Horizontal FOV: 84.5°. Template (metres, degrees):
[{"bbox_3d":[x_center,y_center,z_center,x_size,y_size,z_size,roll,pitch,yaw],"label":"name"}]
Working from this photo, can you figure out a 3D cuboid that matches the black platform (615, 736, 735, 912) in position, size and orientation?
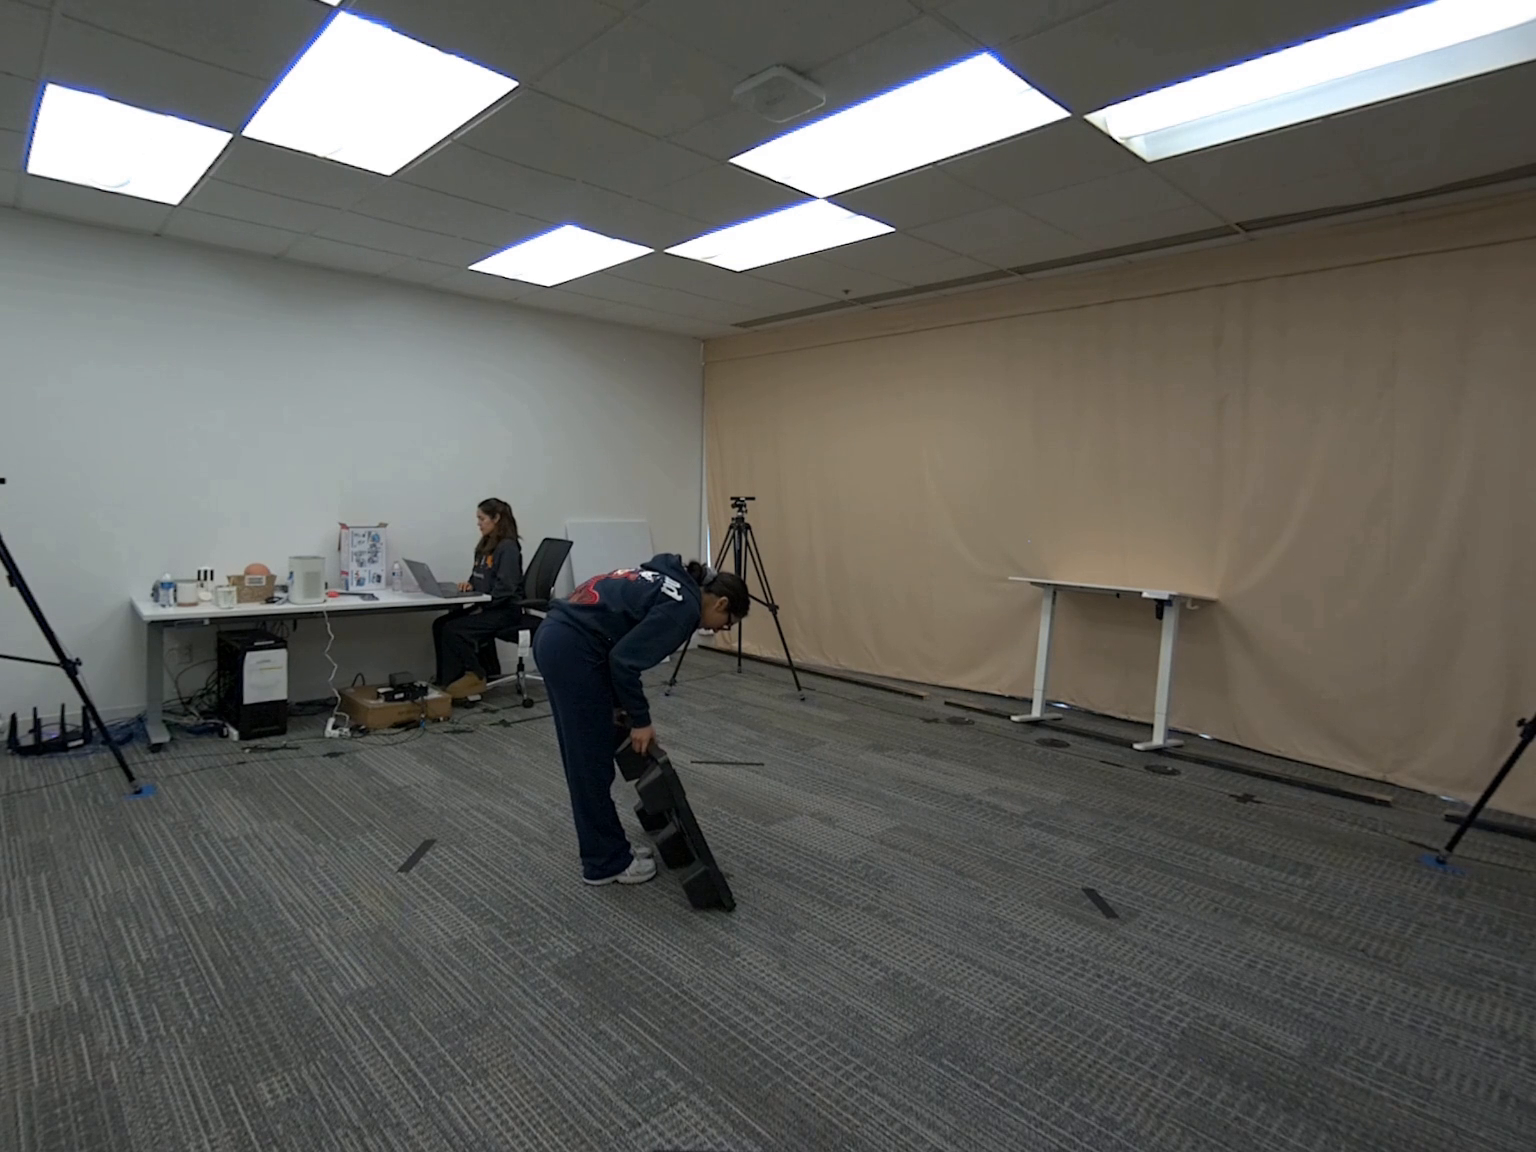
[{"bbox_3d":[-0.418,0.844,3.132,0.142,0.598,0.820,-25,13,-17],"label":"black platform"}]
